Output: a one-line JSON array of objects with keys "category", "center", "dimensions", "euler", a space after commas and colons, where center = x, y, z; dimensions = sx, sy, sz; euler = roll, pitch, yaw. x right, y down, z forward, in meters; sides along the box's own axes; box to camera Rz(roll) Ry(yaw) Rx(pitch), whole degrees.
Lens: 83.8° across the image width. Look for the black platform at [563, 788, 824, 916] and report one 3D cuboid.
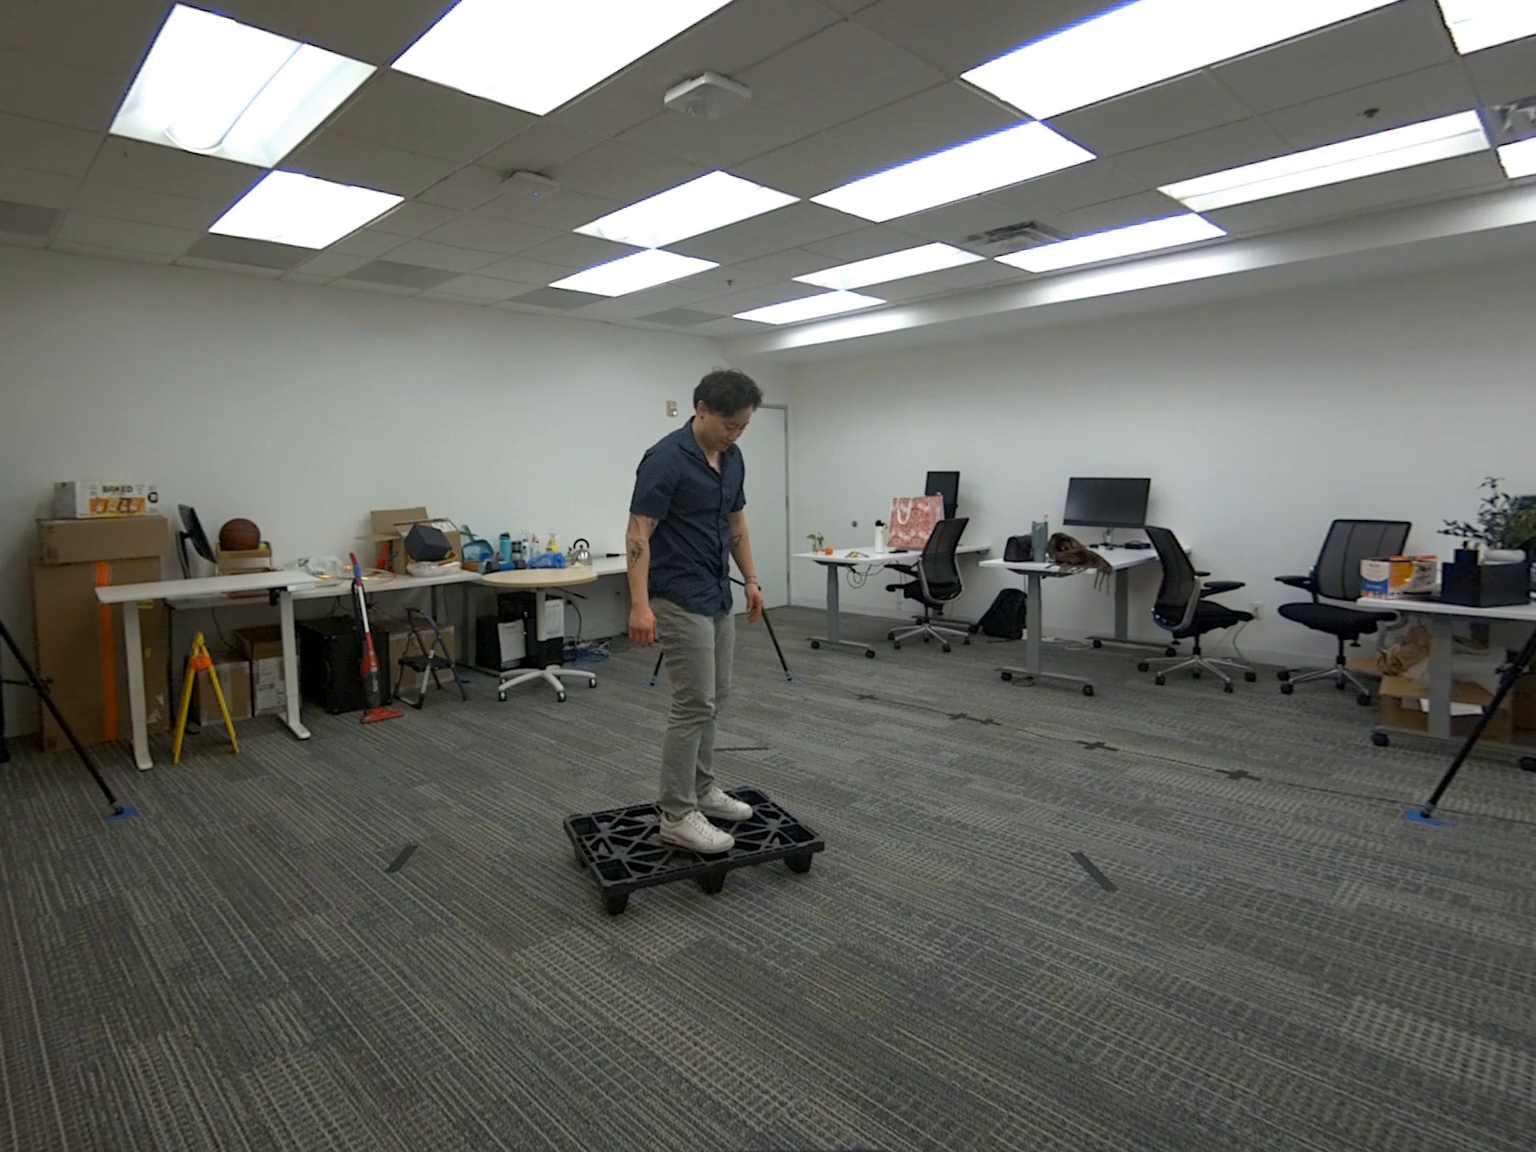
[{"category": "black platform", "center": [-0.284, 0.982, 3.101], "dimensions": [0.789, 0.143, 0.620], "euler": [-4, 6, -24]}]
